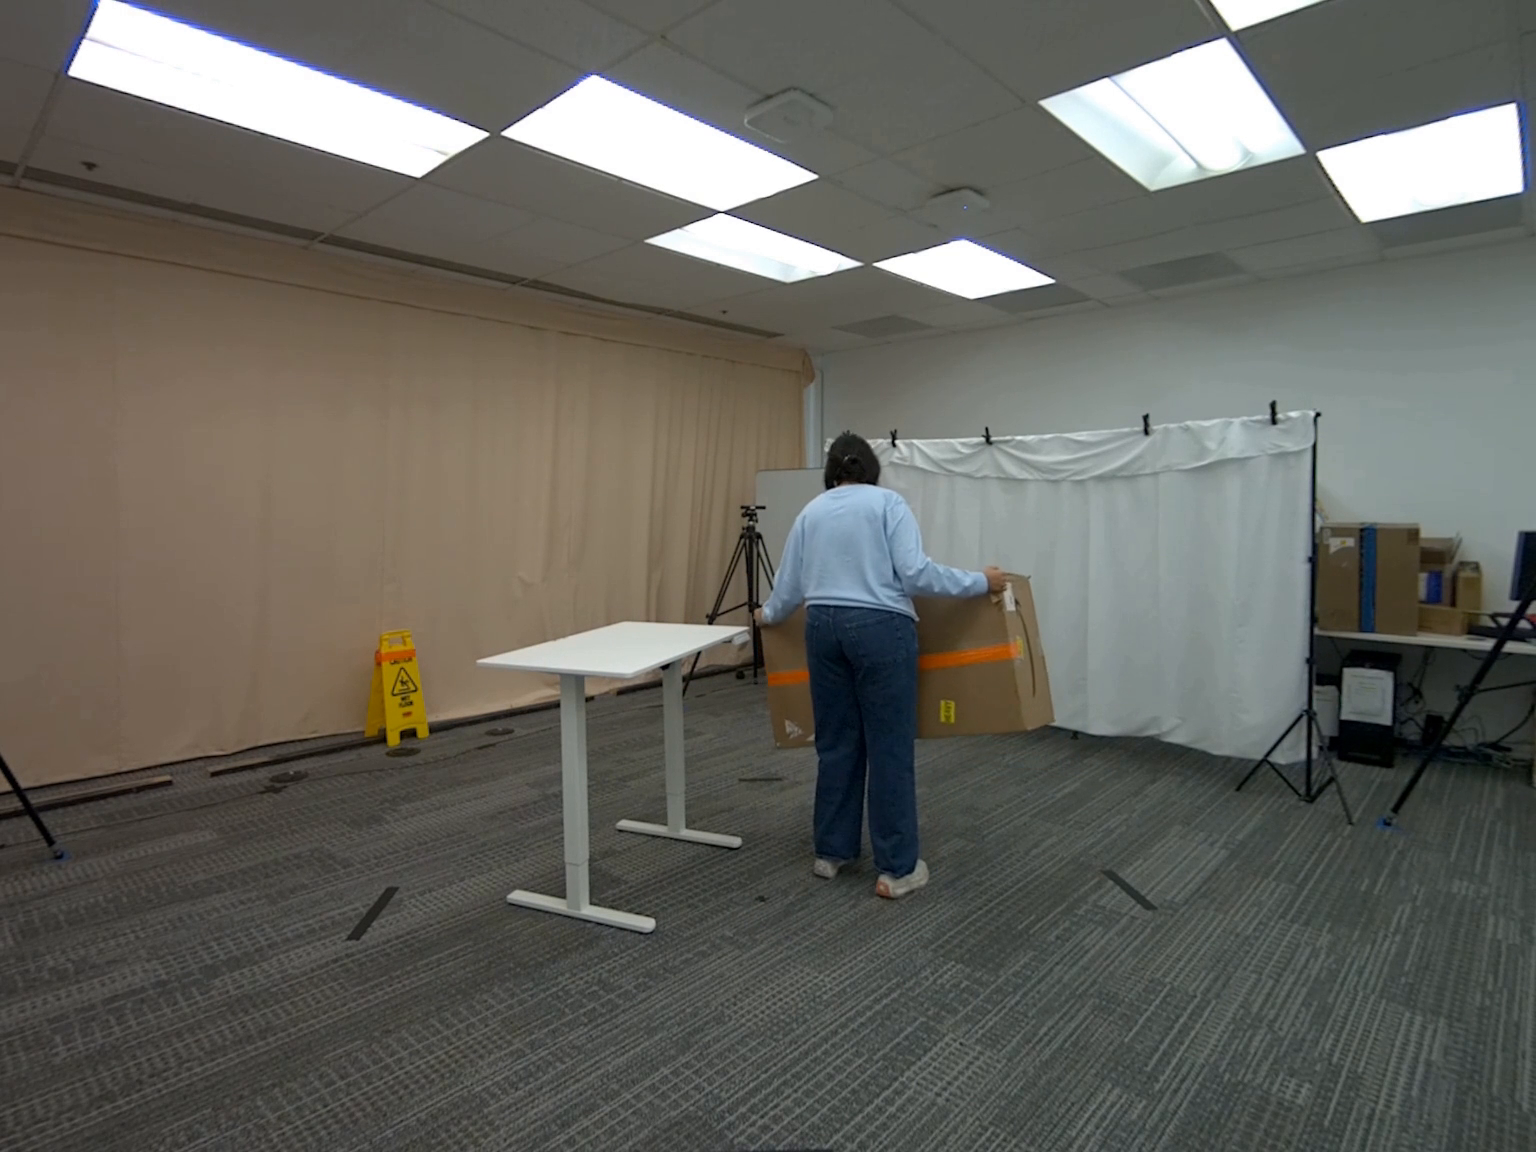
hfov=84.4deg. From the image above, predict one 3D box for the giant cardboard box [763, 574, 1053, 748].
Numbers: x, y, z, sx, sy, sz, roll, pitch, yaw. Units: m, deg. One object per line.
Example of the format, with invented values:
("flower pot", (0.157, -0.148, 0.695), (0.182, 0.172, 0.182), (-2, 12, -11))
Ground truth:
("giant cardboard box", (0.541, 0.361, 3.419), (1.051, 0.581, 0.413), (-12, -10, 32))
